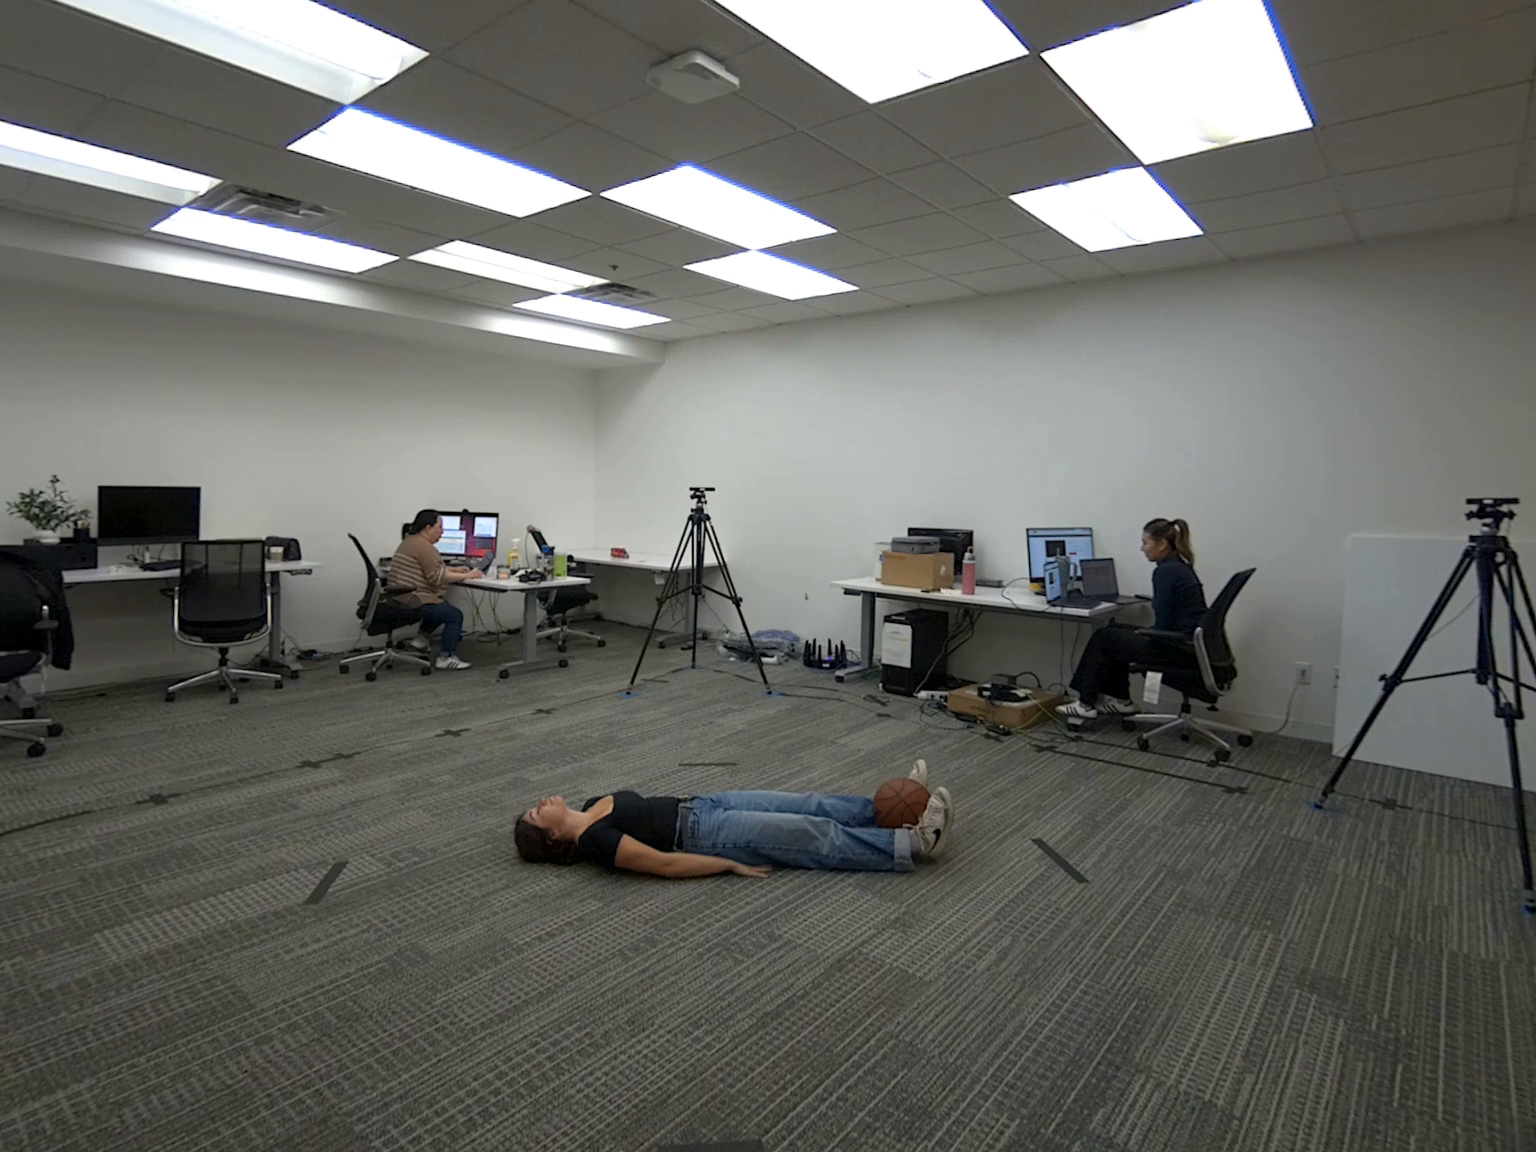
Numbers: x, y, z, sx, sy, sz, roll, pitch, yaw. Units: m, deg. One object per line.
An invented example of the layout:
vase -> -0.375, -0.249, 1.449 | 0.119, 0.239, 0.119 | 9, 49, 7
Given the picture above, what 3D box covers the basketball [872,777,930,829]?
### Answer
basketball -> 0.518, 0.901, 3.325 | 0.235, 0.235, 0.237 | 1, 4, -2
